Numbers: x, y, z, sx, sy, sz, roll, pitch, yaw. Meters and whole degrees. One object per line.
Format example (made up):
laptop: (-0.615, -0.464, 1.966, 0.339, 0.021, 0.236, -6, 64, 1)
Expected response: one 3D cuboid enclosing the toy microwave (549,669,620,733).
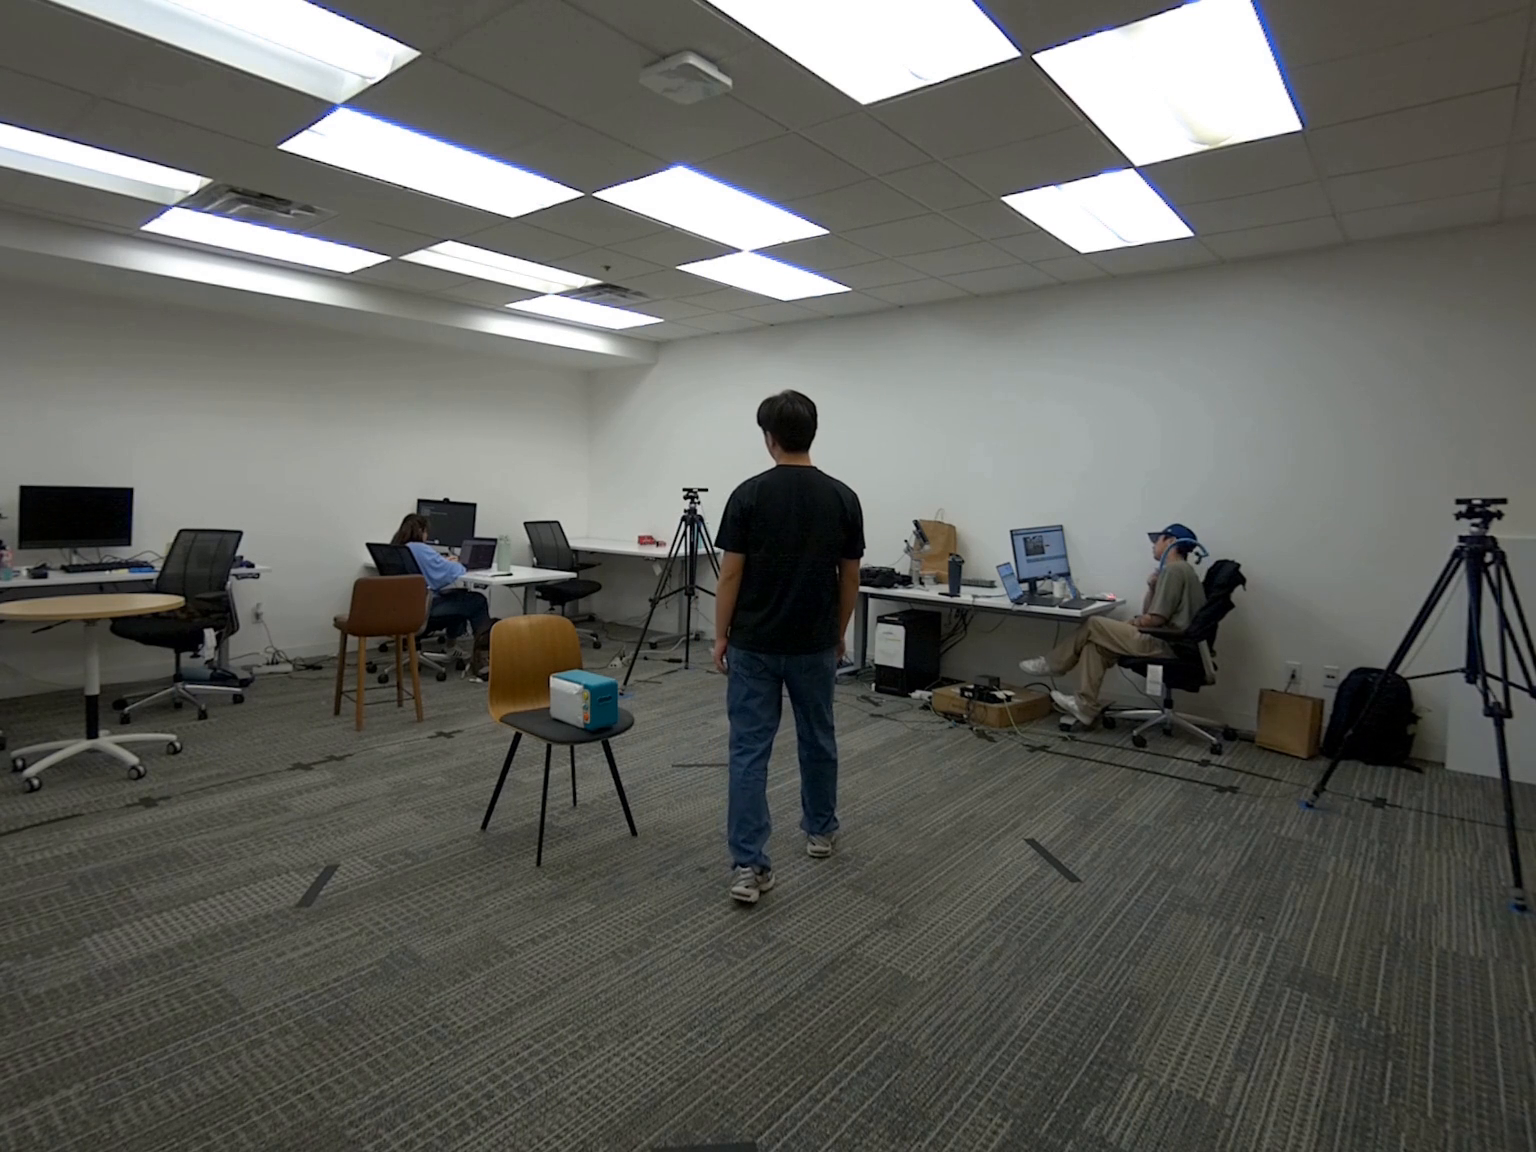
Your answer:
toy microwave: (-0.736, 0.475, 3.290, 0.296, 0.183, 0.148, 6, 7, 44)
